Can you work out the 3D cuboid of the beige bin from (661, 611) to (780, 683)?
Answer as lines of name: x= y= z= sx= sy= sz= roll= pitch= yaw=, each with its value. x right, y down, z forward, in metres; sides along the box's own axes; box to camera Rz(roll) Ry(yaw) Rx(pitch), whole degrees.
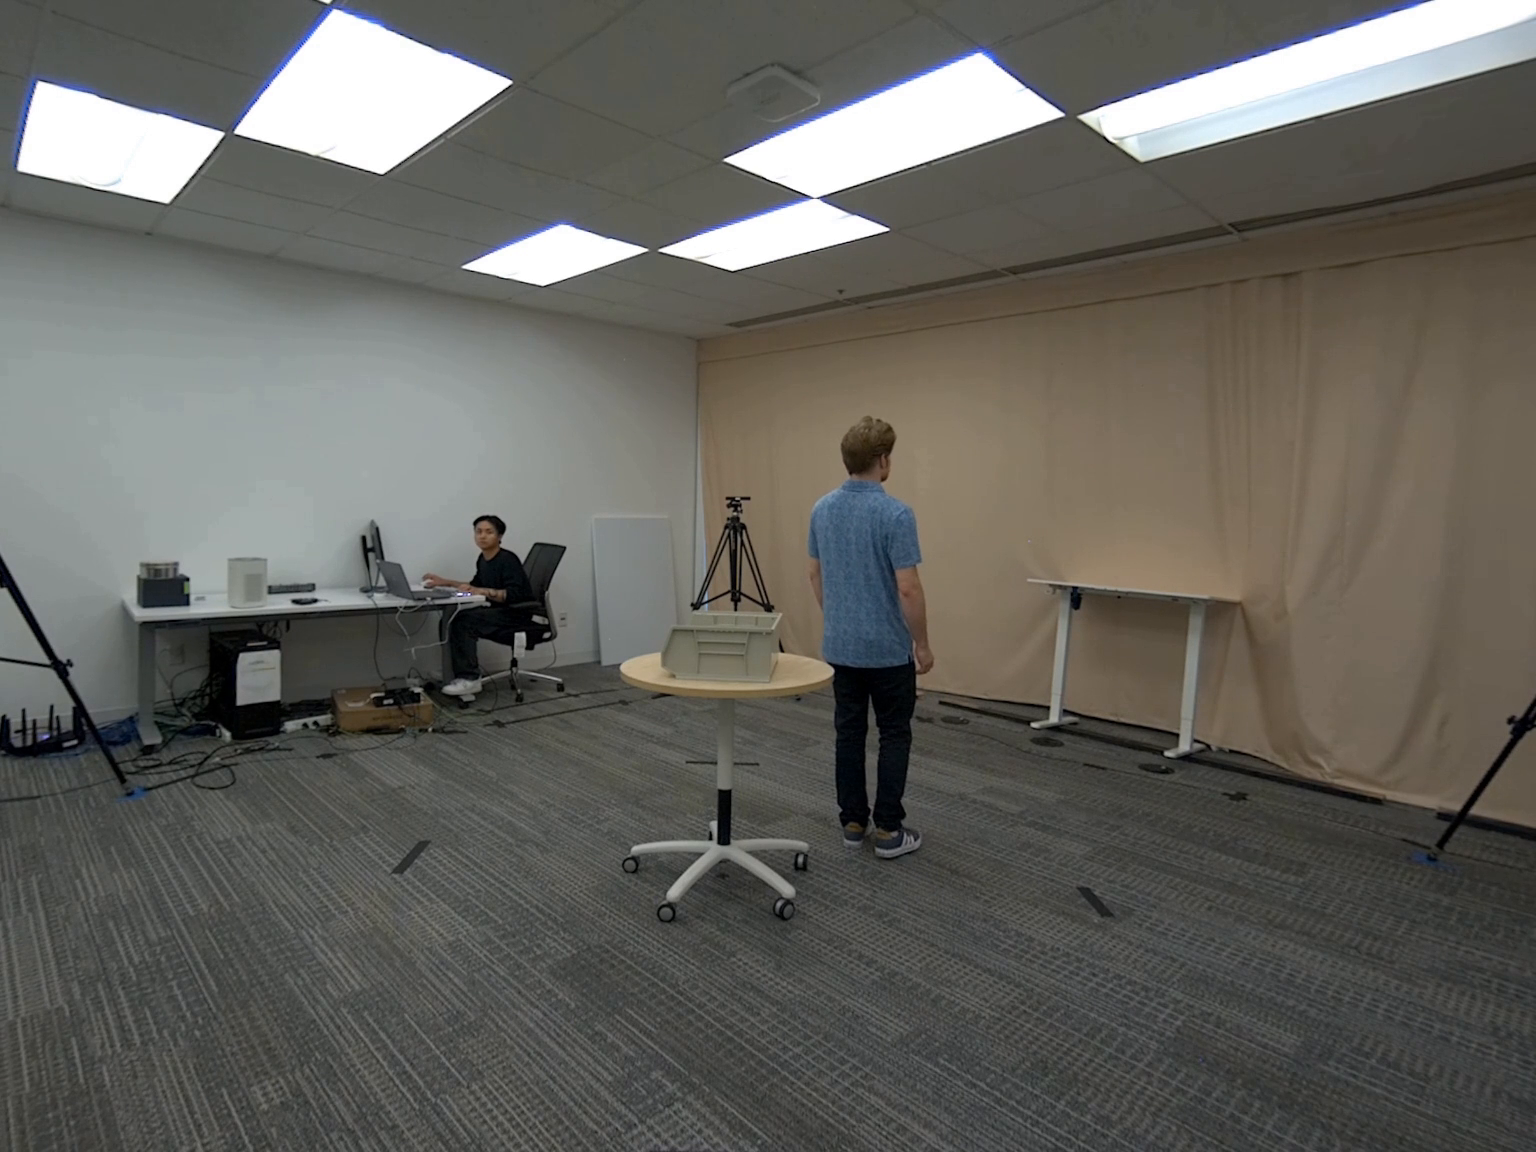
beige bin: x=-0.177 y=0.242 z=2.971 sx=0.379 sy=0.188 sz=0.422 roll=4 pitch=5 yaw=4
